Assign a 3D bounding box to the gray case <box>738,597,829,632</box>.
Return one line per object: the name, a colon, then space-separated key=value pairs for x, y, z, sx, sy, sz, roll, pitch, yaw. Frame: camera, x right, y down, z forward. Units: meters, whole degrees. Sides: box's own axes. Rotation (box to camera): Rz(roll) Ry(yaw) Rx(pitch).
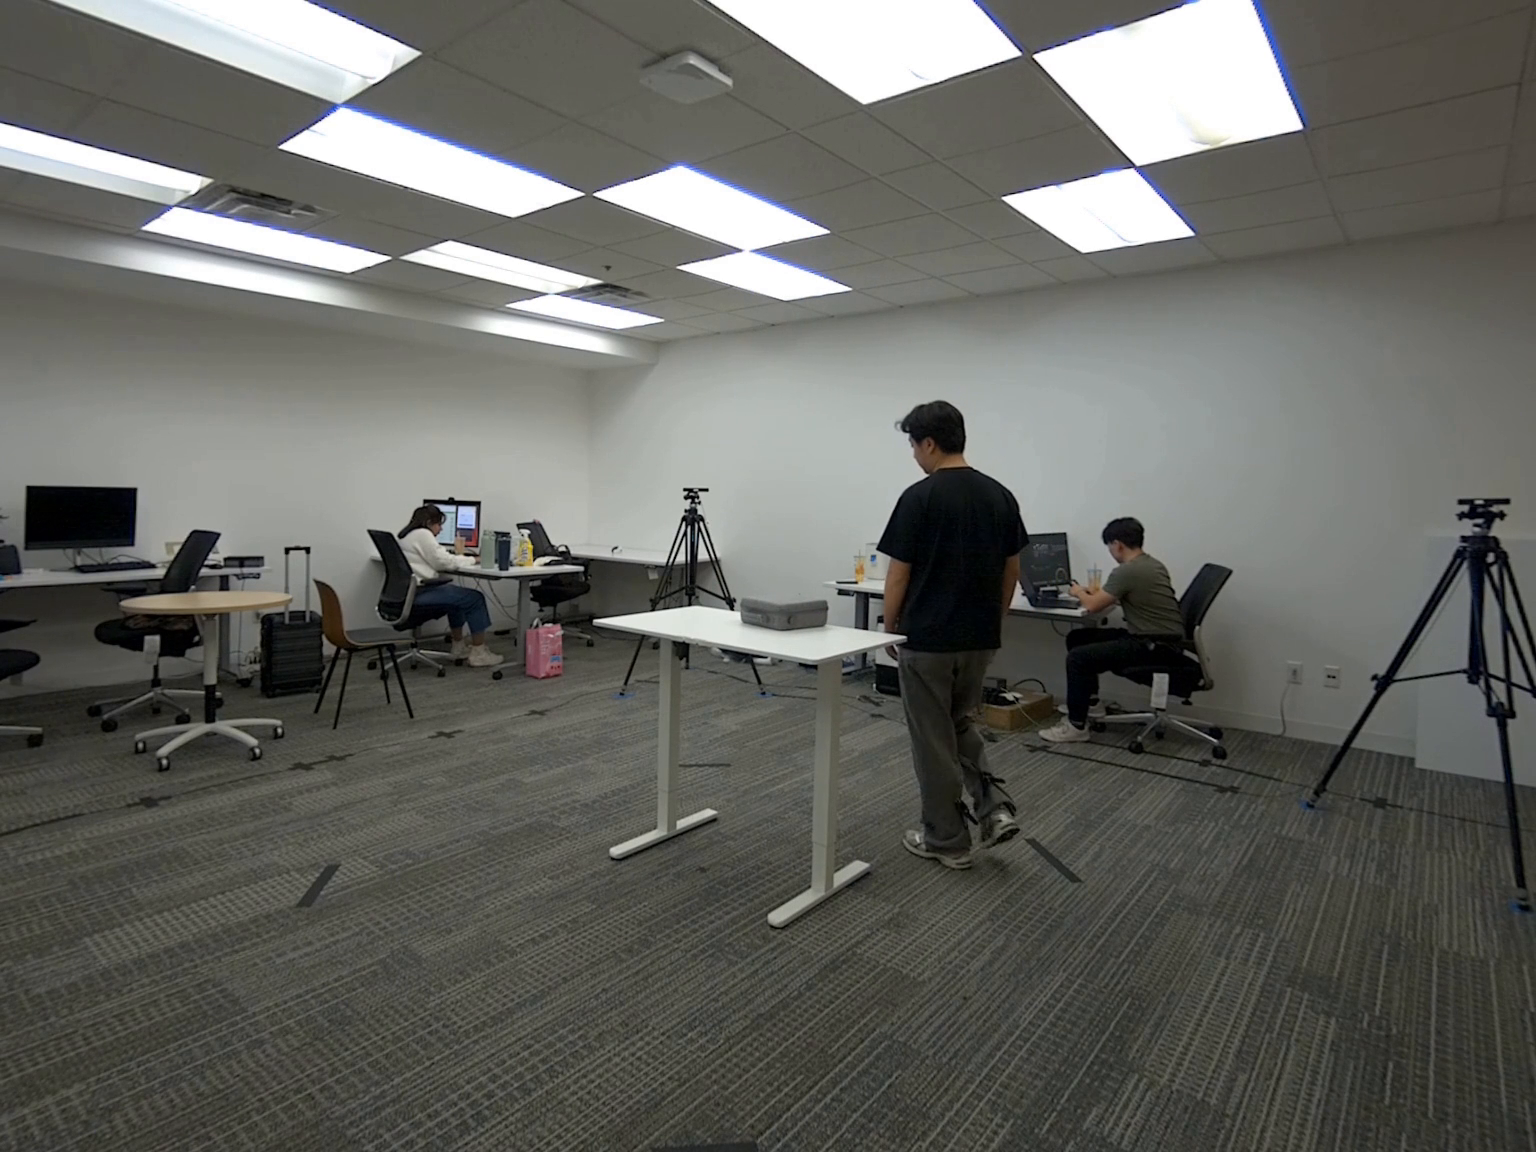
gray case: x=0.048 y=0.128 z=3.230 sx=0.253 sy=0.104 sz=0.266 roll=-4 pitch=8 yaw=-38
